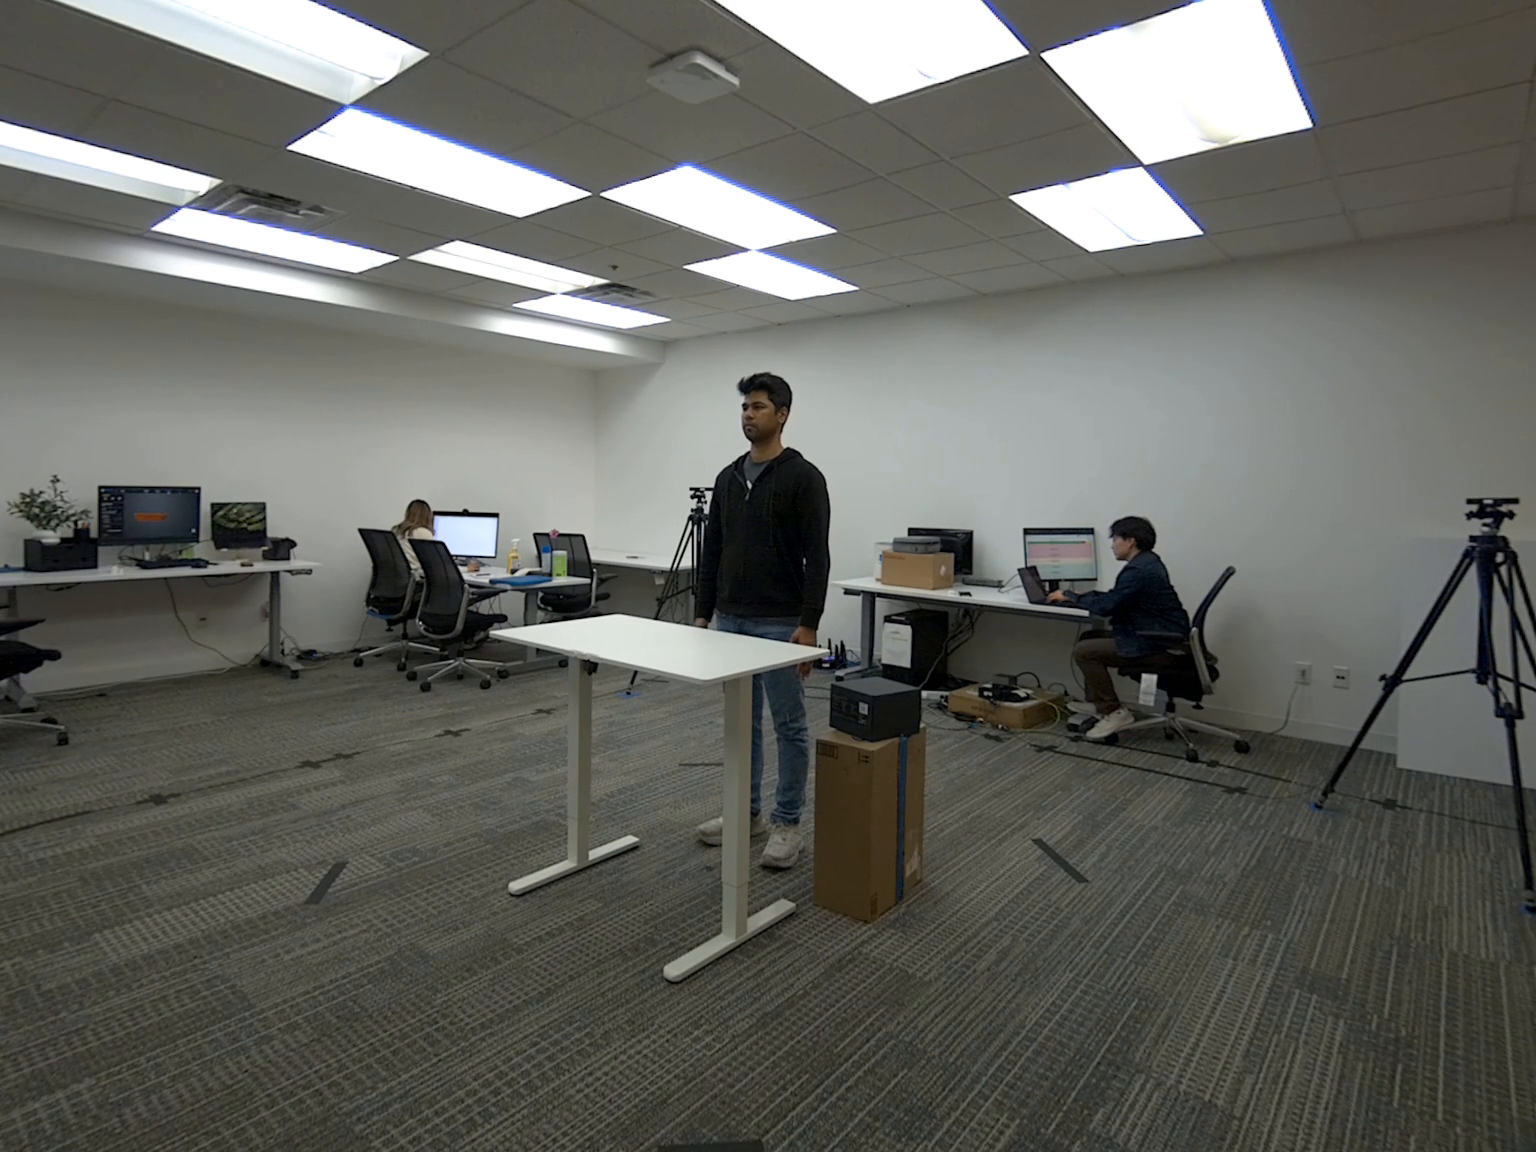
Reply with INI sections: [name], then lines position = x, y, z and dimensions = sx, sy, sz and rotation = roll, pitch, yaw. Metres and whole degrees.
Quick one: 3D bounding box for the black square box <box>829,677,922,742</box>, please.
[black square box]
position = 0.361, 0.454, 2.932
dimensions = 0.221, 0.155, 0.224
rotation = -2, 5, -36
